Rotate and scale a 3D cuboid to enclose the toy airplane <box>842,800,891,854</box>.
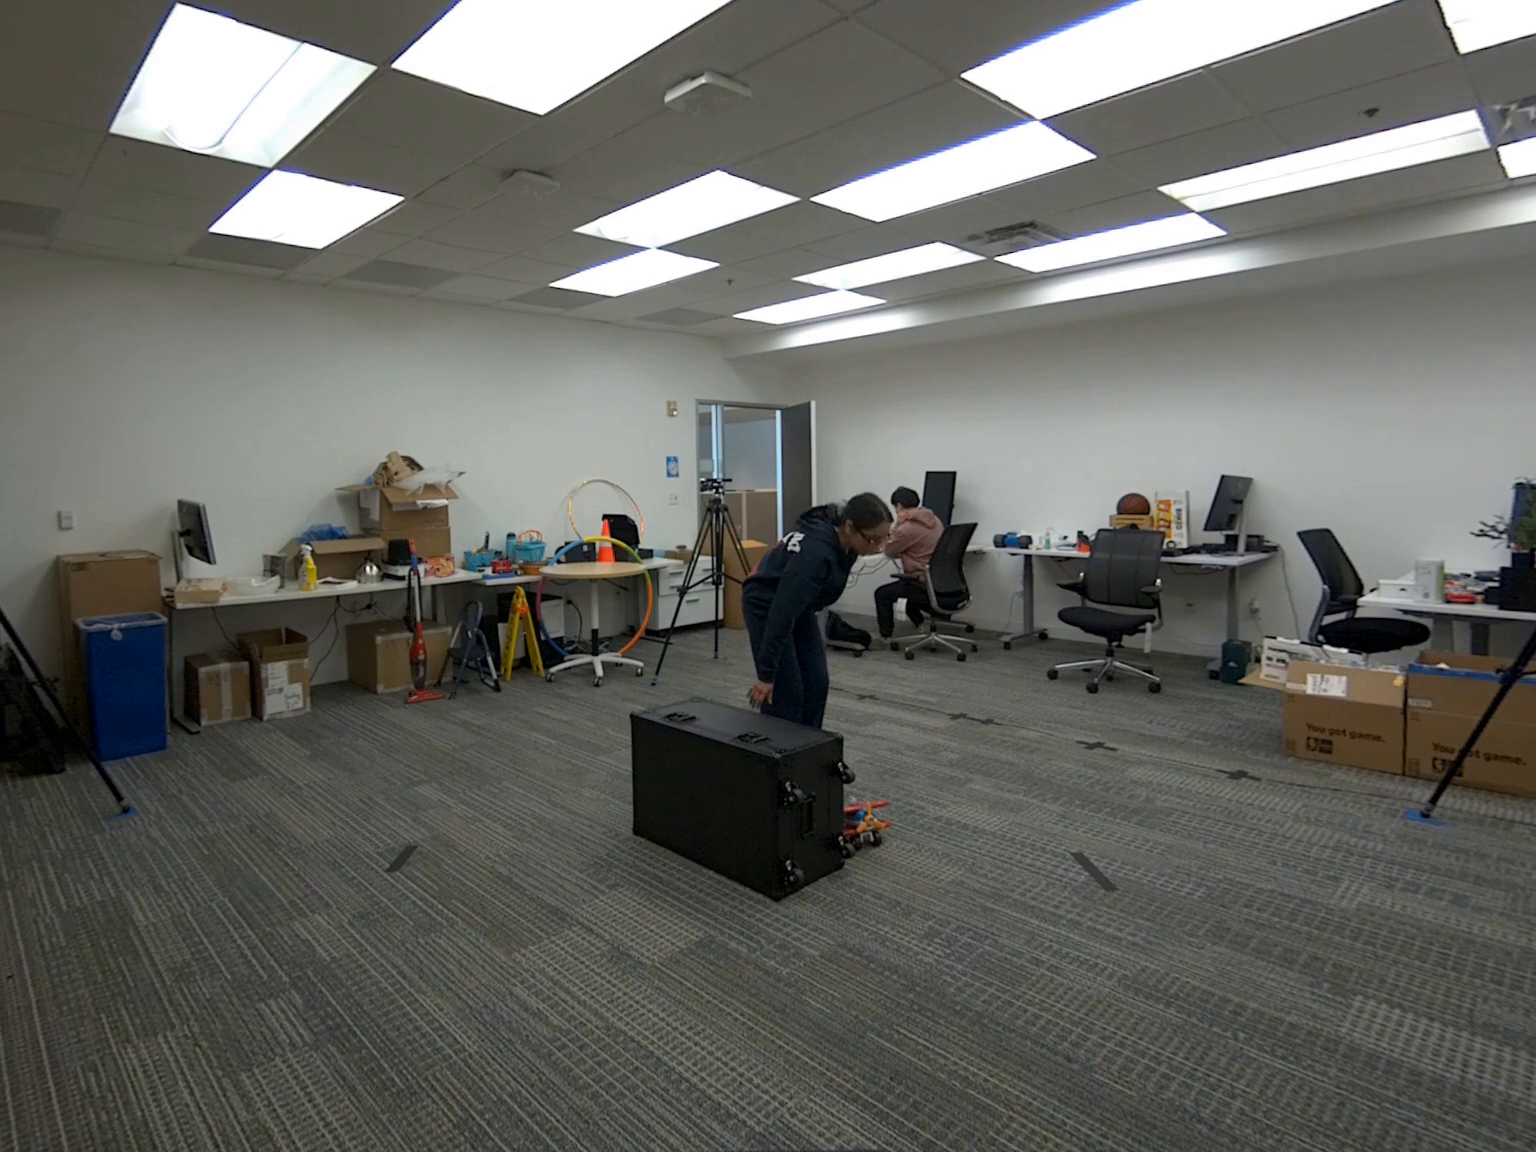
[{"bbox_3d":[0.317,0.943,3.271,0.267,0.156,0.244,6,7,37],"label":"toy airplane"}]
